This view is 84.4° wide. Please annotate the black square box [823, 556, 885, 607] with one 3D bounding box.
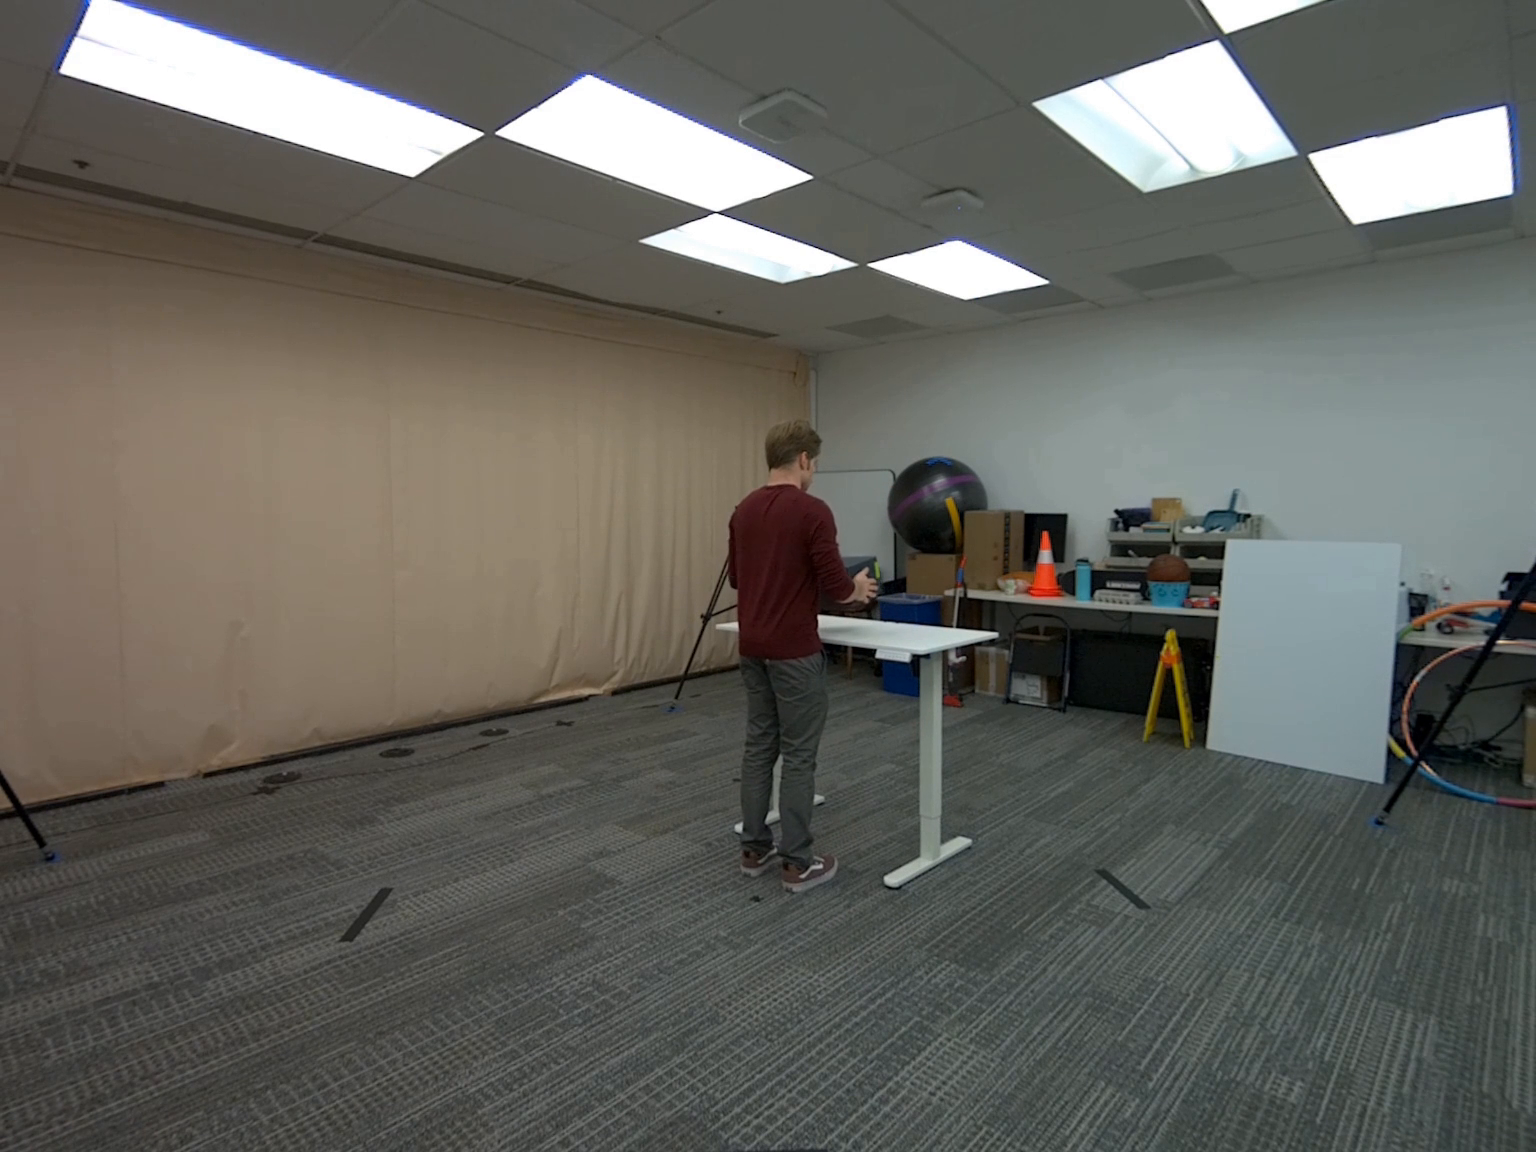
[{"bbox_3d":[0.303,0.018,3.420,0.235,0.155,0.211,0,11,43],"label":"black square box"}]
